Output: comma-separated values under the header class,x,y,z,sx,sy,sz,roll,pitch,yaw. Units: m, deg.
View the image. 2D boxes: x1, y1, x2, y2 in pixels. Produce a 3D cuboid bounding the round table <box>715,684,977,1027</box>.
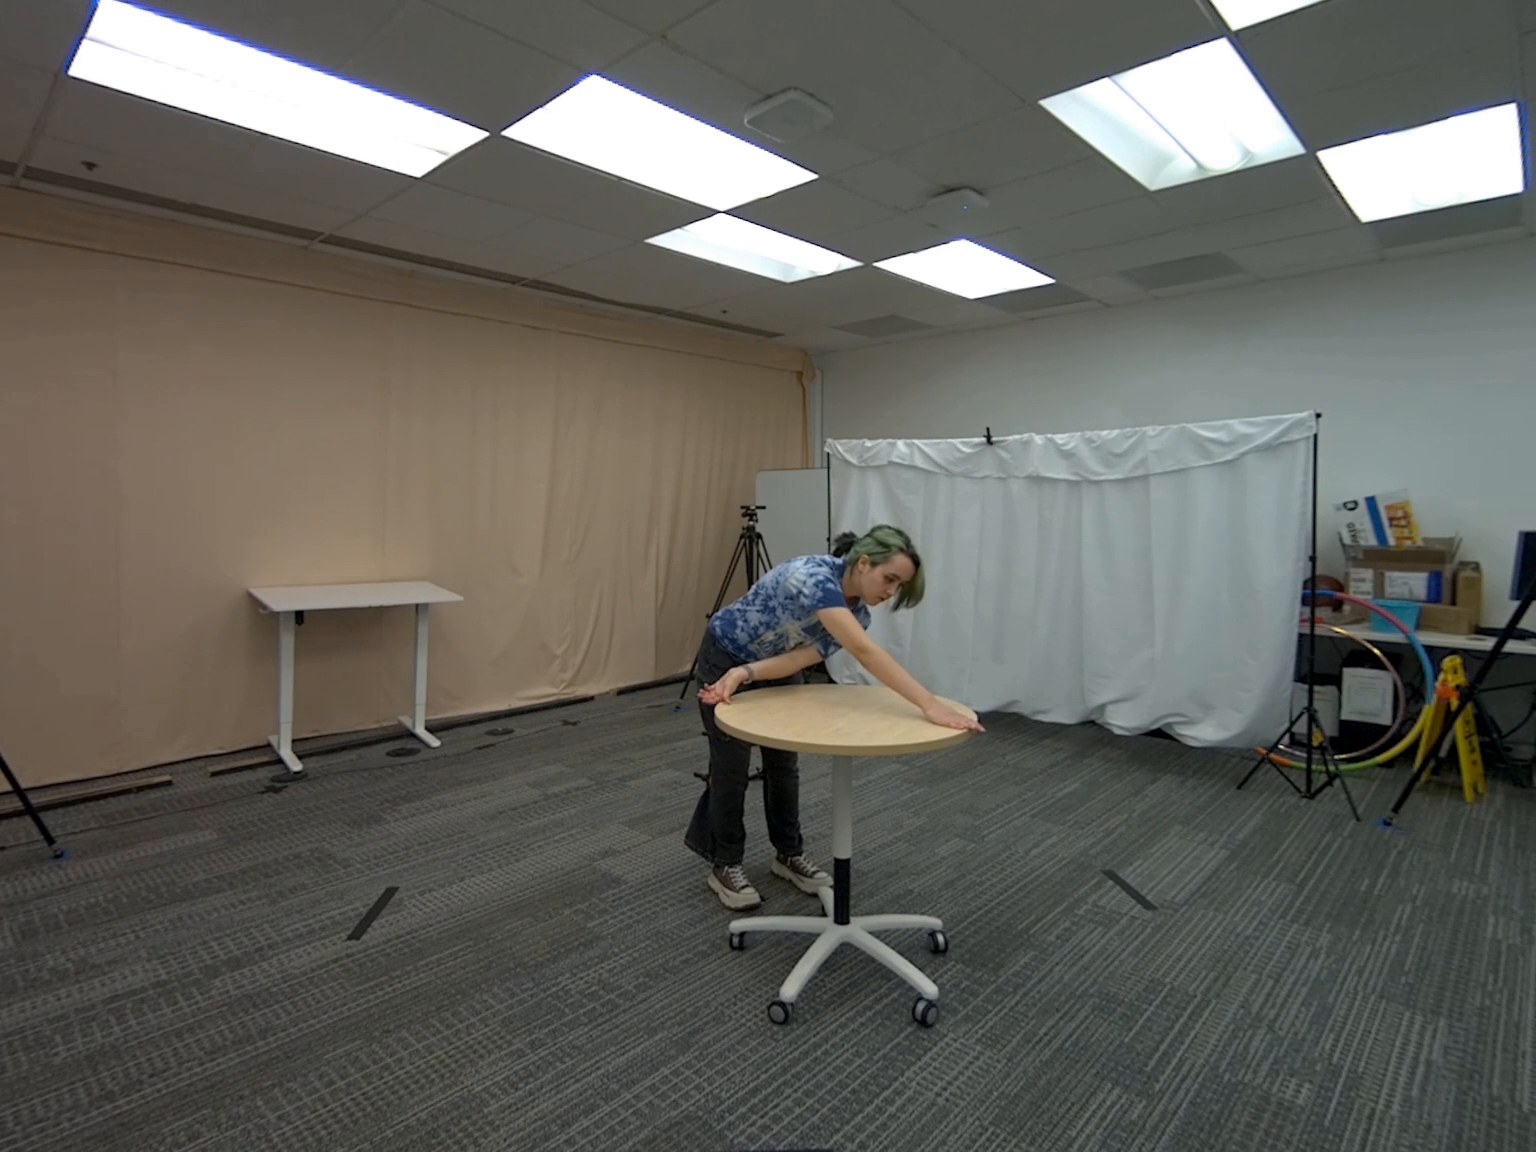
class,x,y,z,sx,sy,sz,roll,pitch,yaw
round table,0.231,0.795,2.521,0.763,0.792,0.767,0,4,-2
